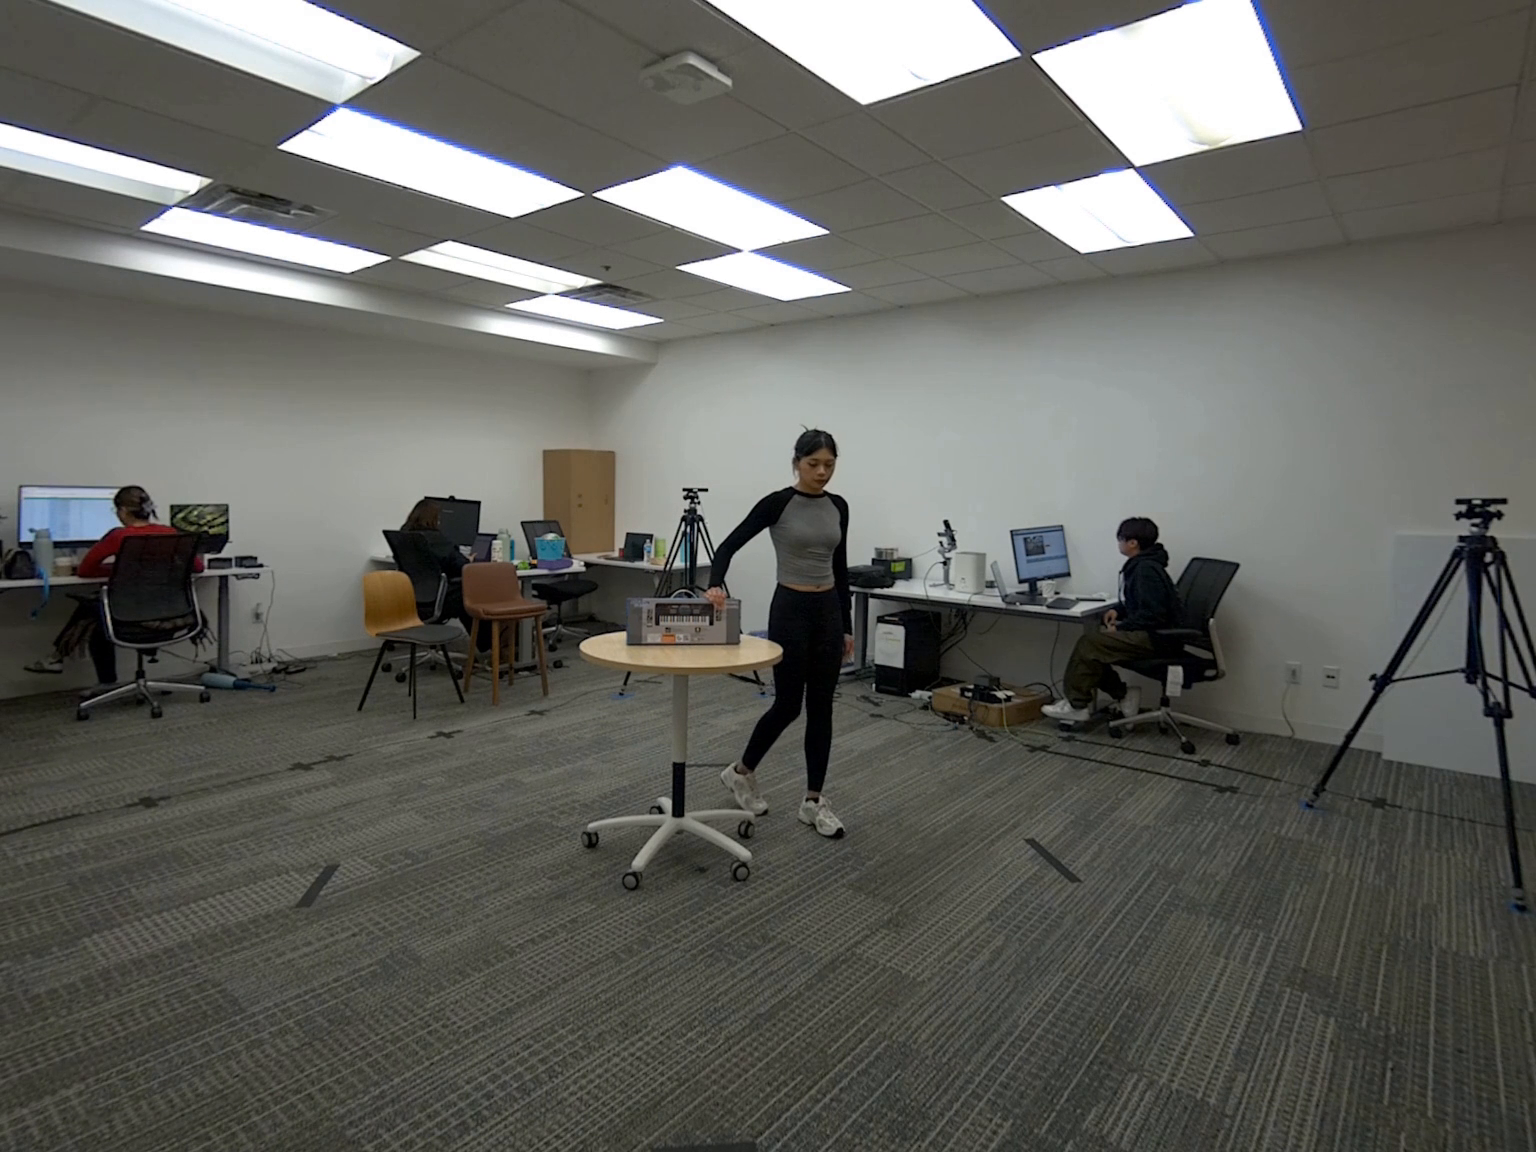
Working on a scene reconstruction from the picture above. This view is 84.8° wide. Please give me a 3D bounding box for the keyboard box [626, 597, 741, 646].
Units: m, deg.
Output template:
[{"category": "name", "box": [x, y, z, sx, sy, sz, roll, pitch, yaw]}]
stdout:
[{"category": "keyboard box", "box": [-0.334, 0.166, 3.268, 0.432, 0.176, 0.060, 0, -1, -11]}]
